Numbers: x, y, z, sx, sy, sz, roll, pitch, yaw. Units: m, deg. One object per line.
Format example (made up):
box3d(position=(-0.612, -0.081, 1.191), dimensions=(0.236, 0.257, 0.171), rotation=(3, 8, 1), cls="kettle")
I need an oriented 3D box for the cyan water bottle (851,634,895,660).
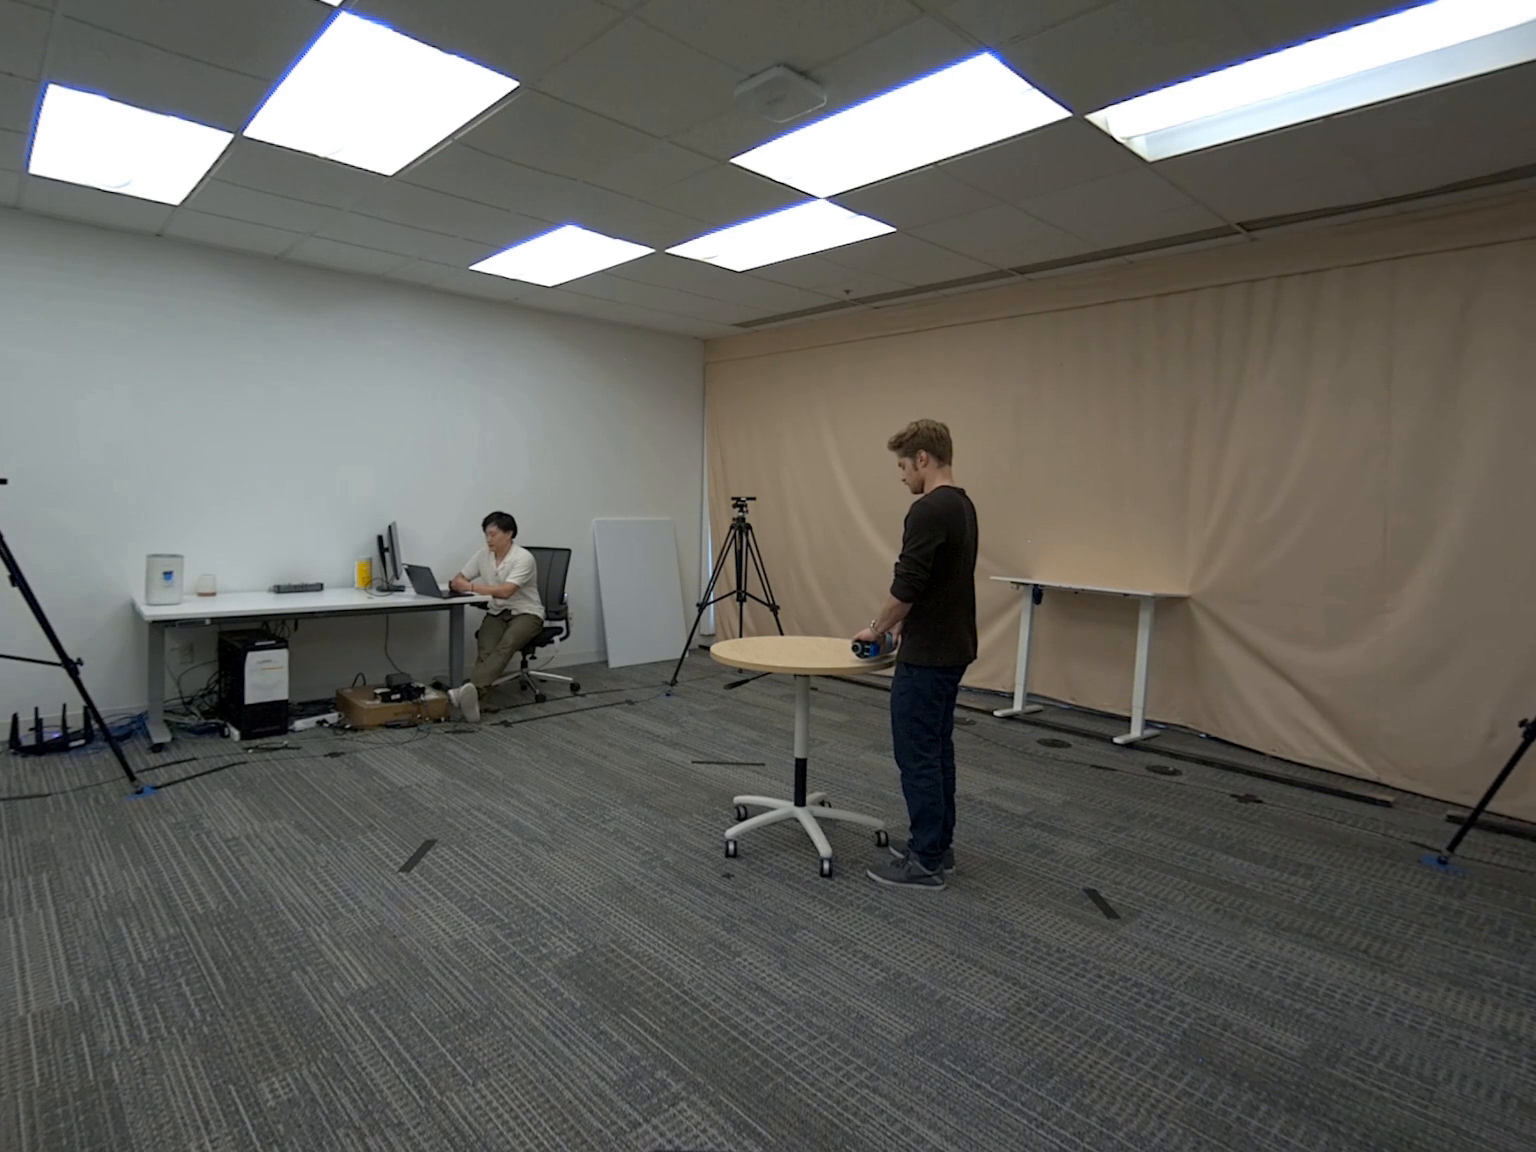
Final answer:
box3d(position=(0.412, 0.268, 3.256), dimensions=(0.094, 0.092, 0.278), rotation=(4, 4, 28), cls="cyan water bottle")
